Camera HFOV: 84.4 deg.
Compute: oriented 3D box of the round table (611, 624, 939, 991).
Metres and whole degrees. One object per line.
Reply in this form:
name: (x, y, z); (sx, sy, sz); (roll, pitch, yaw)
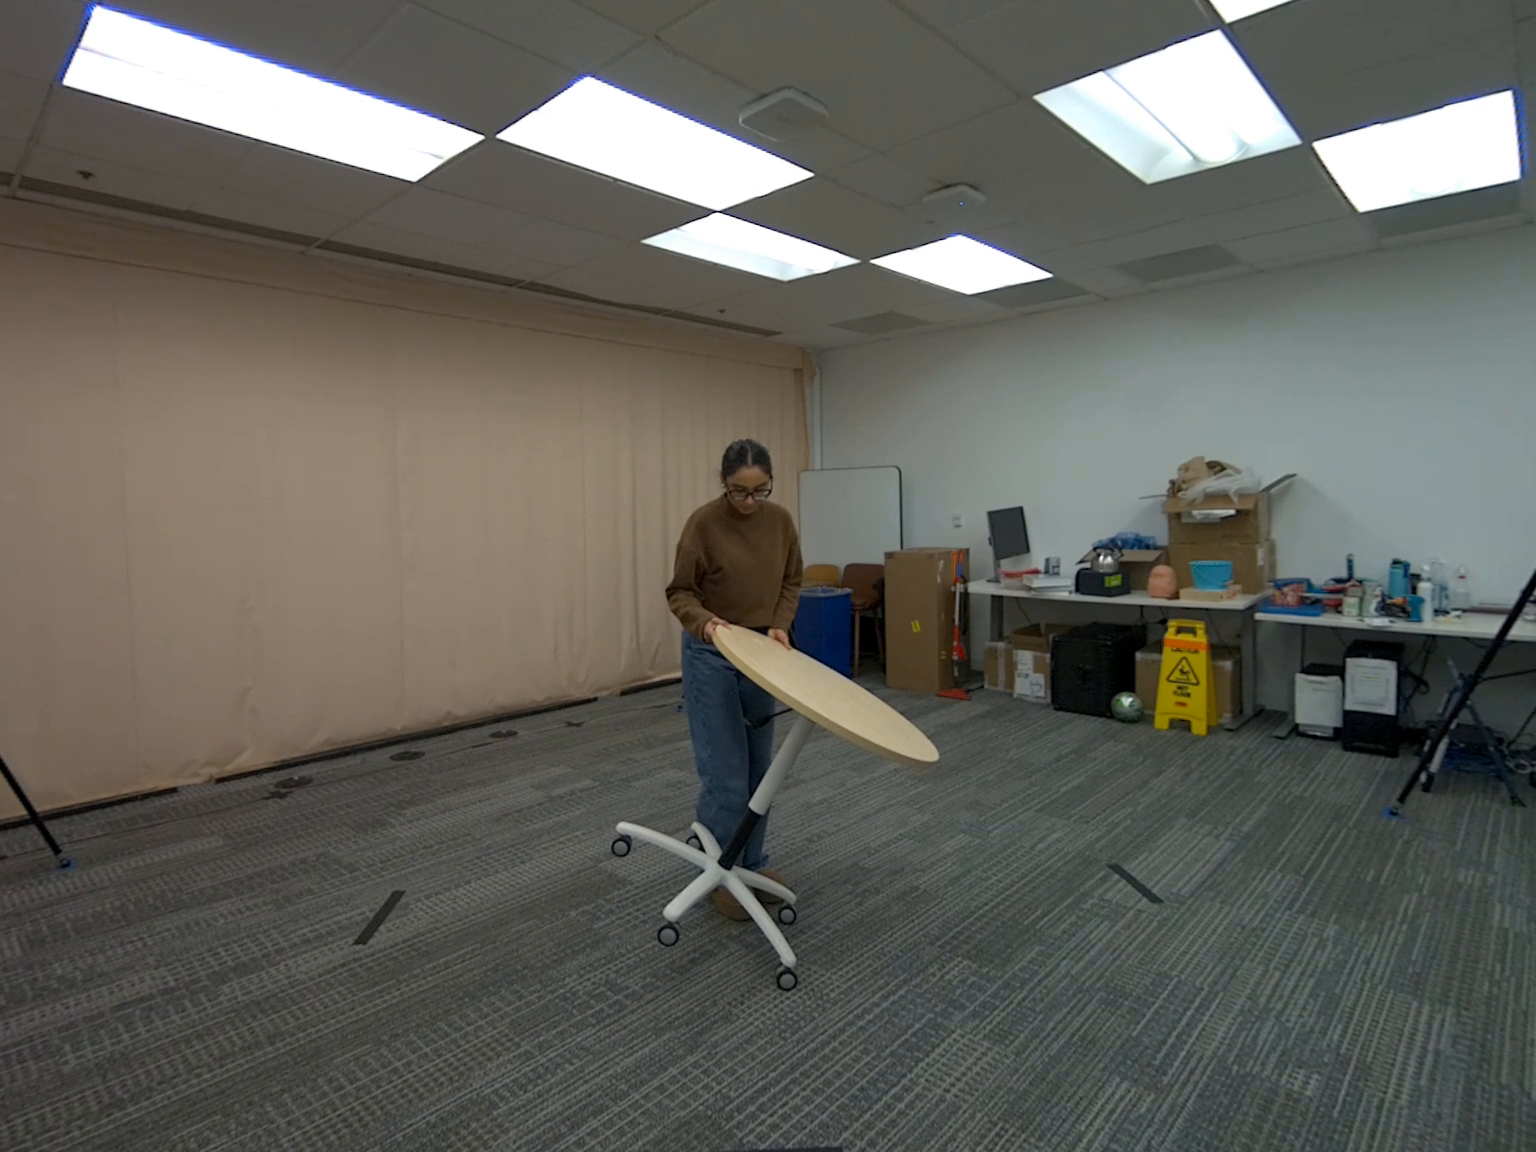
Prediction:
round table: (-0.010, 0.690, 2.593); (0.761, 0.793, 0.768); (28, 5, -5)
